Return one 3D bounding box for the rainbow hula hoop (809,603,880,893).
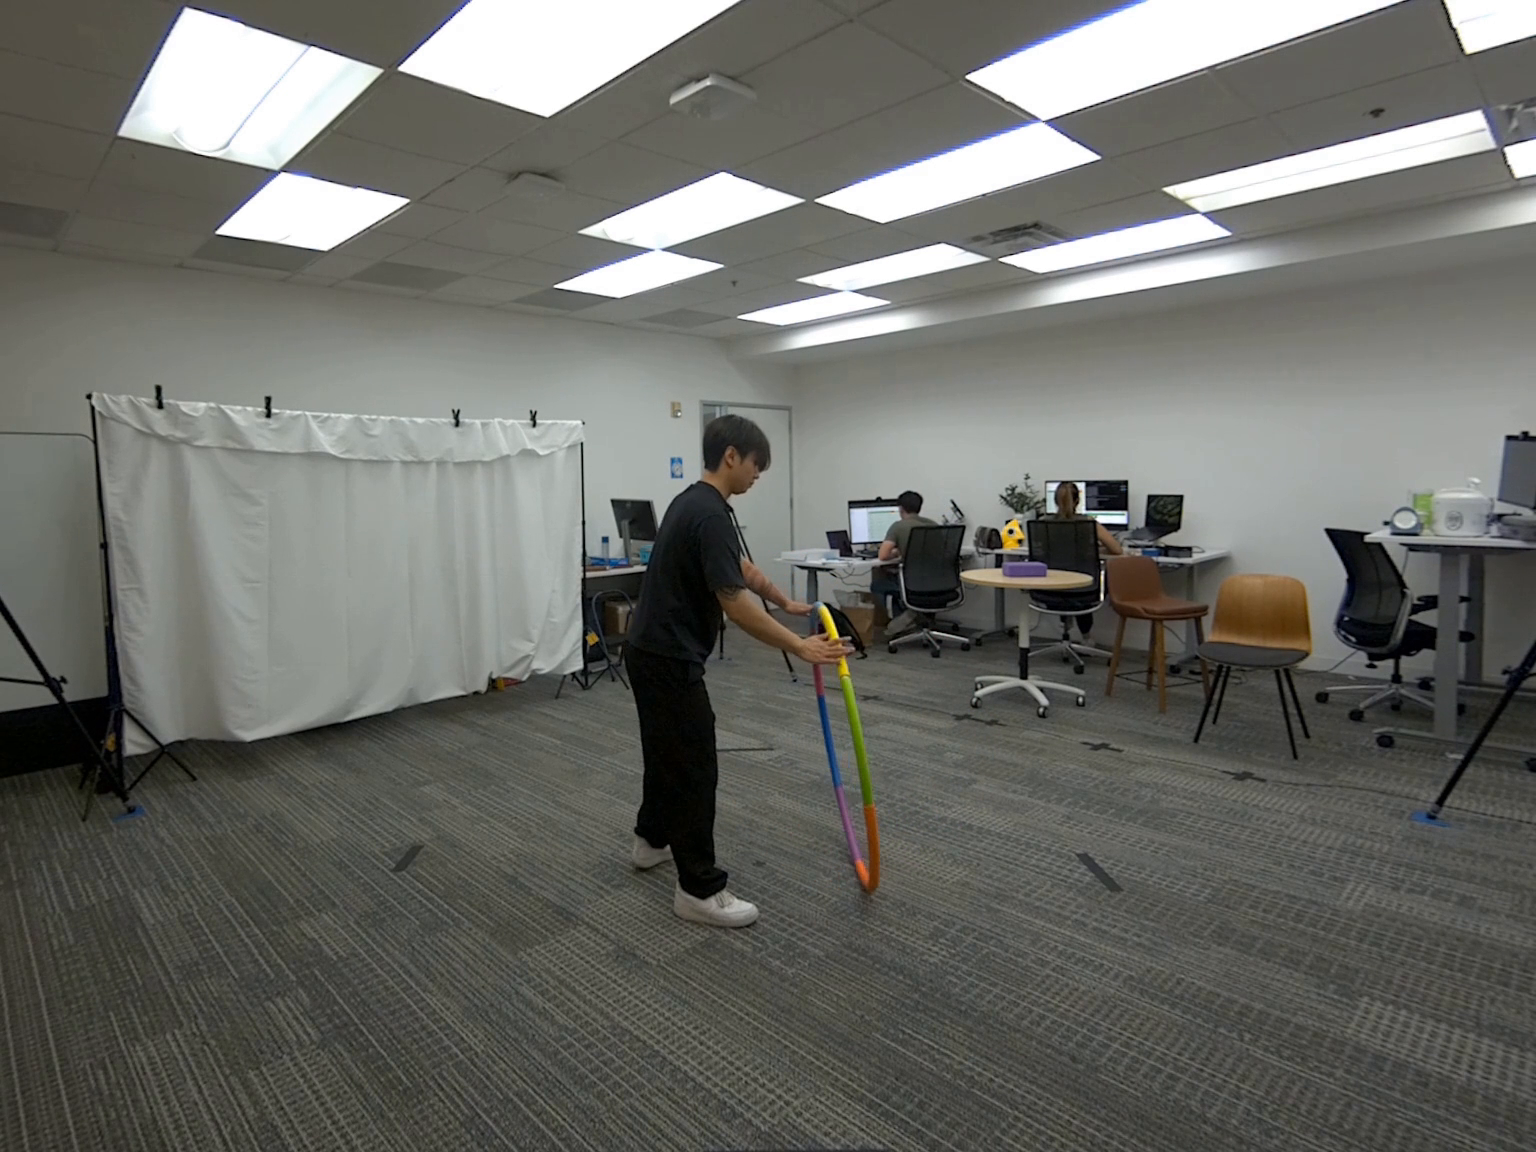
[{"bbox_3d":[0.260,0.582,2.984,0.035,0.974,0.985,-8,5,-3],"label":"rainbow hula hoop"}]
